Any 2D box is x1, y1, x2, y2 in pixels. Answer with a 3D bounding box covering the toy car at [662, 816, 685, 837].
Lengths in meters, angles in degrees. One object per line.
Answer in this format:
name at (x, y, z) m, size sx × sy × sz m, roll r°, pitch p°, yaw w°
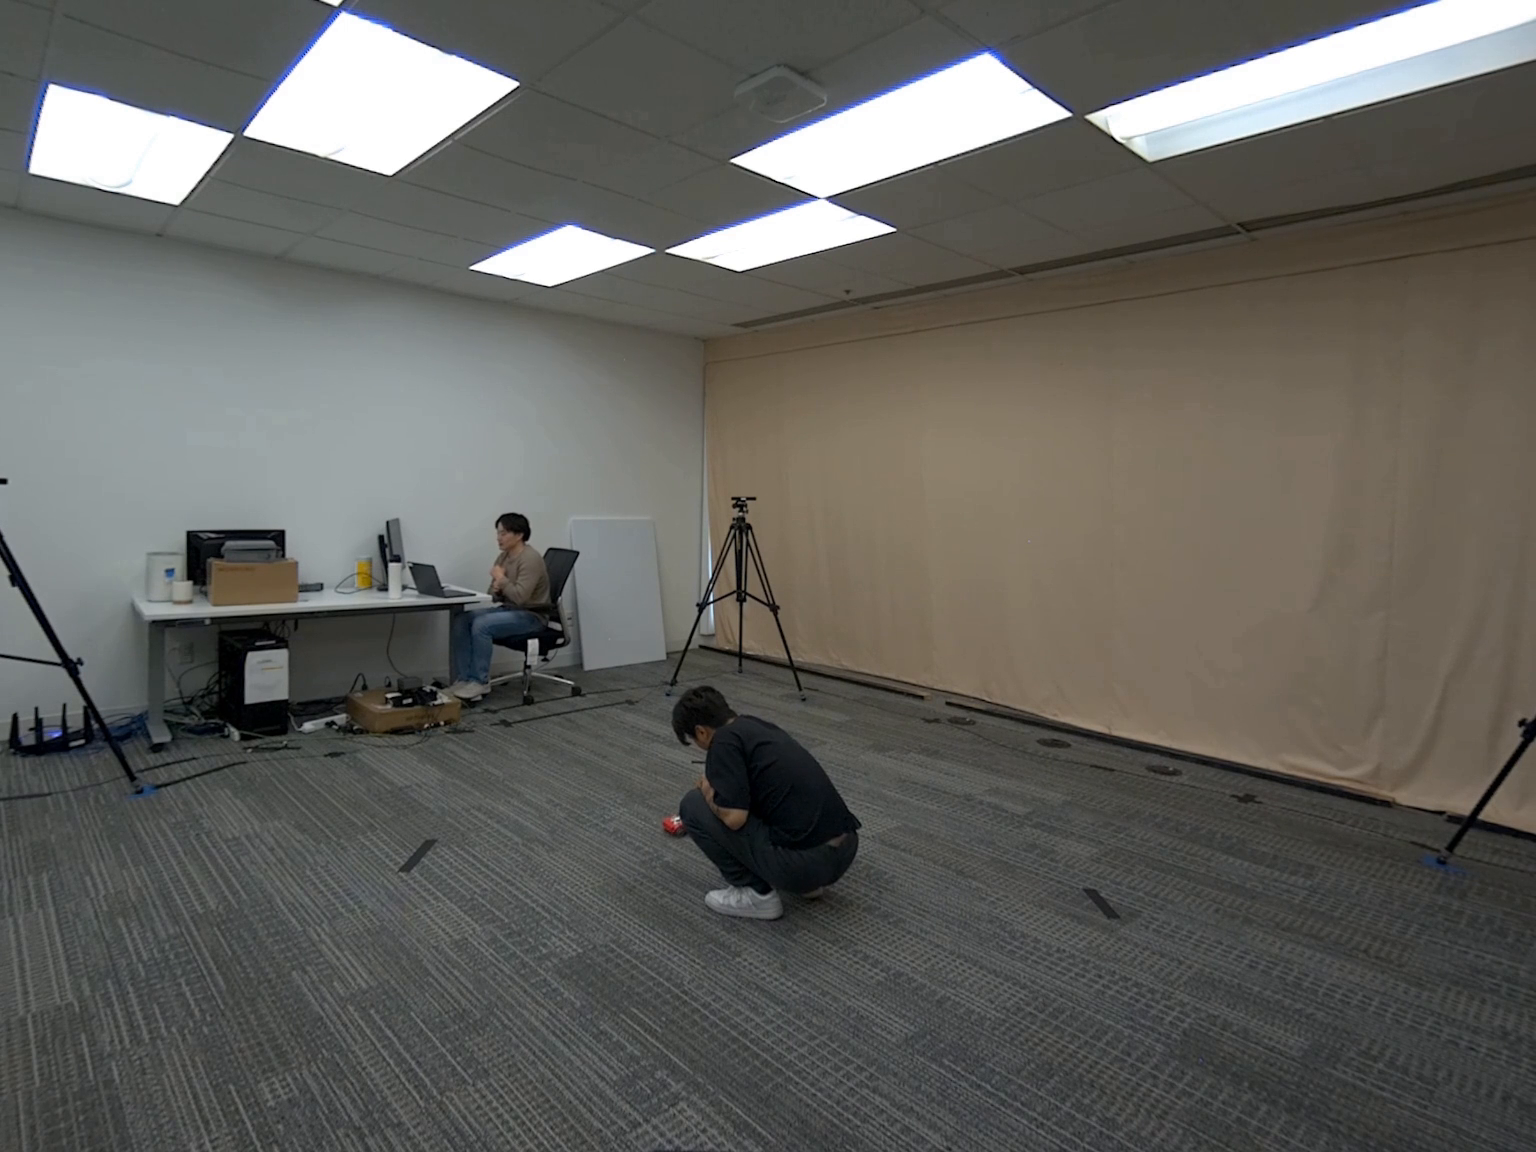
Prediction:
toy car at (-0.321, 1.035, 3.544) m, size 0.250 × 0.082 × 0.133 m, roll -14°, pitch 12°, yaw -33°
